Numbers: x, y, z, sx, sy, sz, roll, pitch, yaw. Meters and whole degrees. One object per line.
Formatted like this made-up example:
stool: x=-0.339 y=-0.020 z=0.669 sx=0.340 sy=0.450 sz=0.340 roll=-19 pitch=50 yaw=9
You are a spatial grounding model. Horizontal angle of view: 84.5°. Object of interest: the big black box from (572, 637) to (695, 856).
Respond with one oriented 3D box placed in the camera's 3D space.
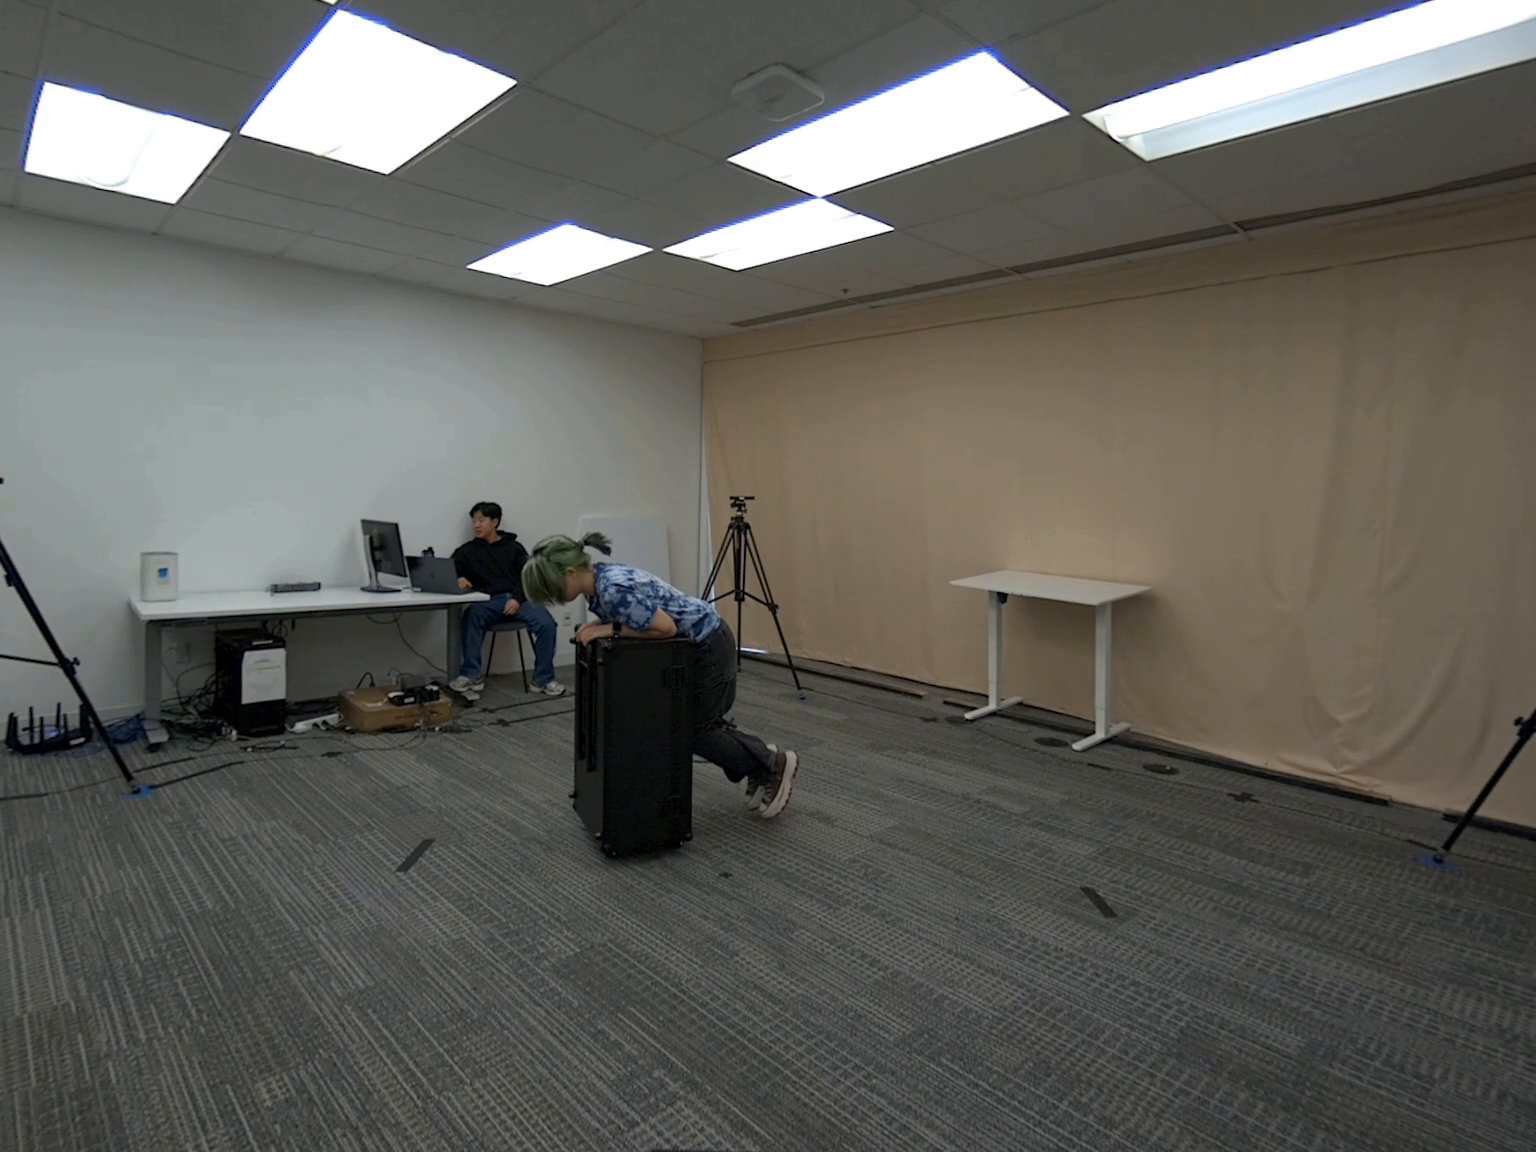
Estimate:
big black box: x=-0.565 y=0.595 z=3.361 sx=0.389 sy=0.859 sz=0.532 roll=-1 pitch=4 yaw=-25
